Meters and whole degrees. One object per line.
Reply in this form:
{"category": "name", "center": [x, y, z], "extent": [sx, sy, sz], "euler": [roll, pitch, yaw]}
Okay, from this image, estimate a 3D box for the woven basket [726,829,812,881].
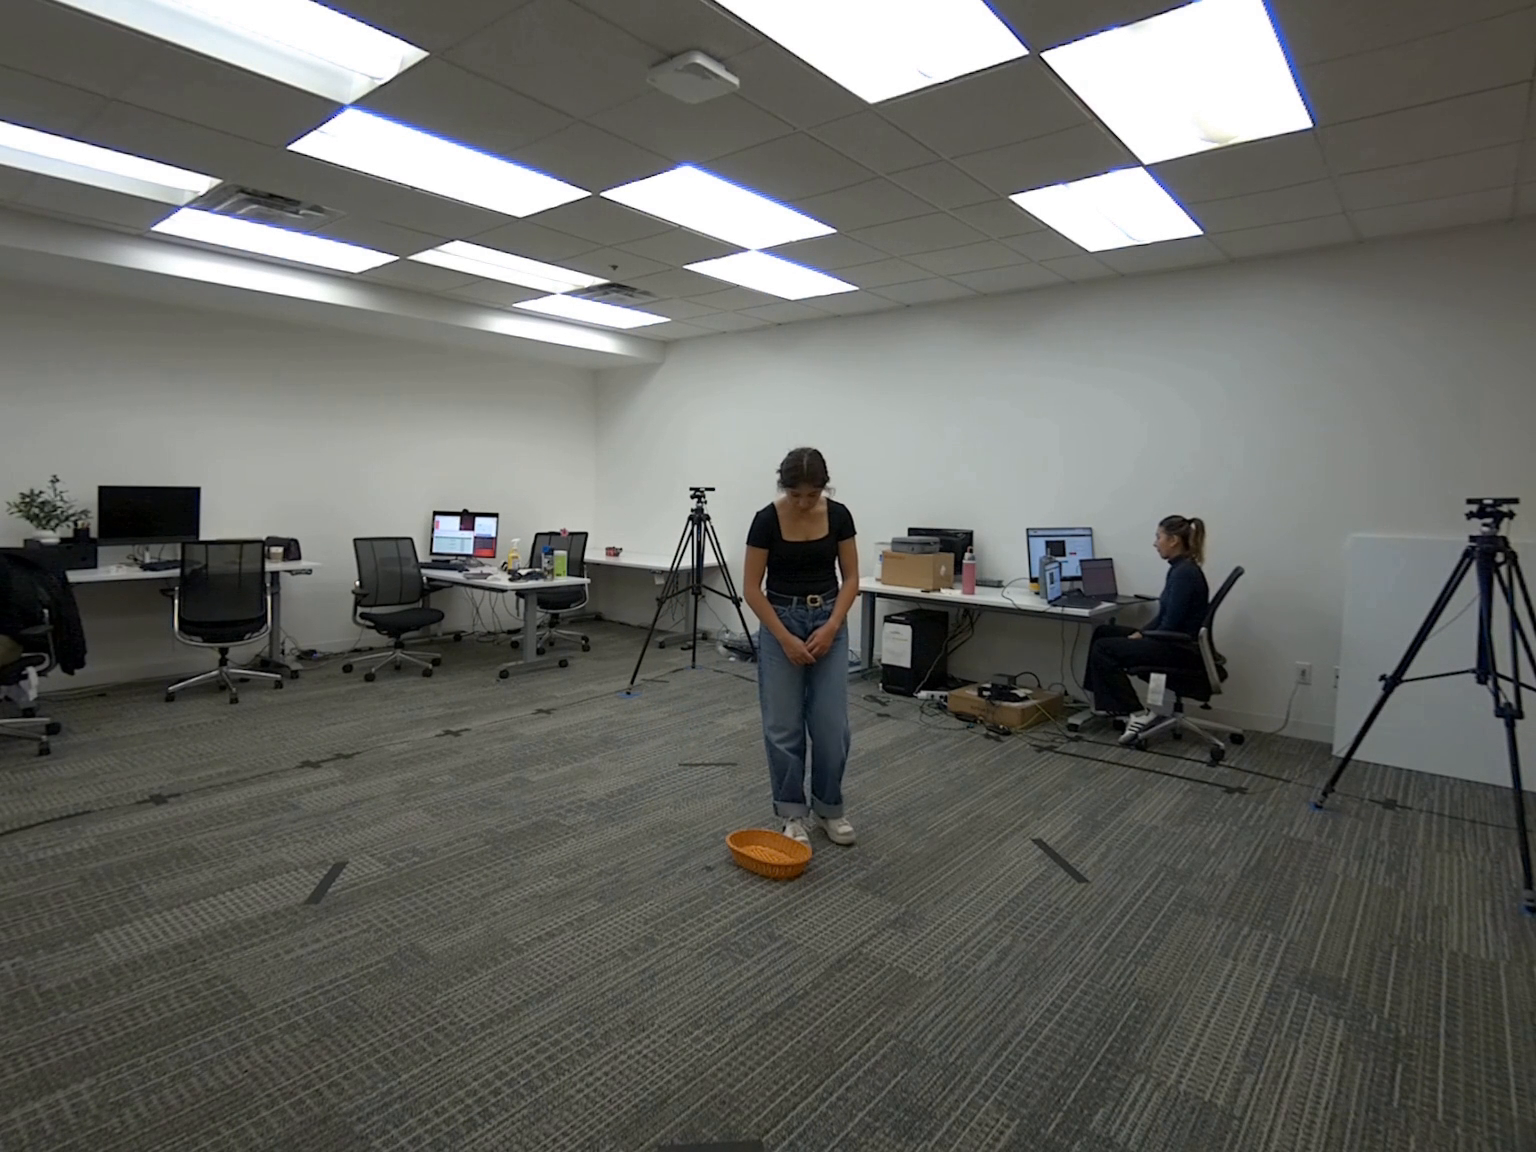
{"category": "woven basket", "center": [-0.009, 1.023, 3.158], "extent": [0.245, 0.073, 0.362], "euler": [-2, 6, -41]}
